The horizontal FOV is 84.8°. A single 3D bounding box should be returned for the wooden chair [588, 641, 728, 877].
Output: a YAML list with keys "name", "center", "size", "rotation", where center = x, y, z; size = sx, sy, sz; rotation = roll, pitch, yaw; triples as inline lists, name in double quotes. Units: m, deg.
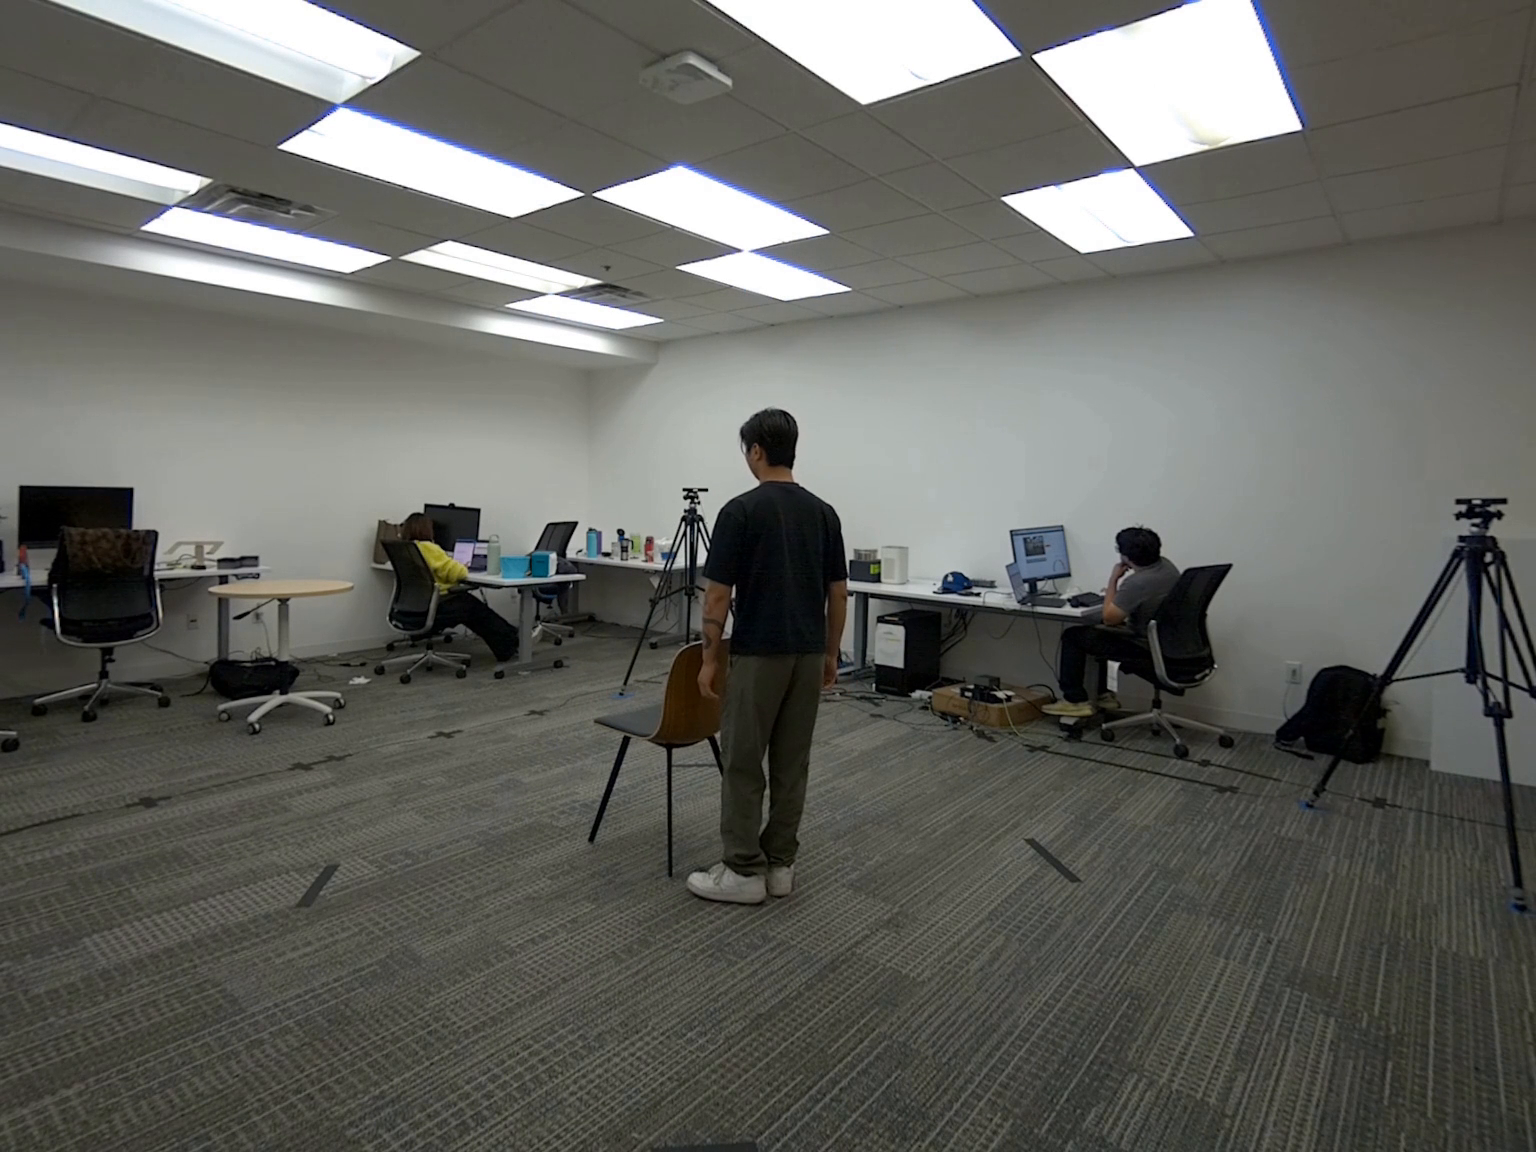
- name: "wooden chair"
  center: [-0.401, 0.619, 3.328]
  size: [0.542, 0.873, 0.464]
  rotation: [9, 8, 39]
